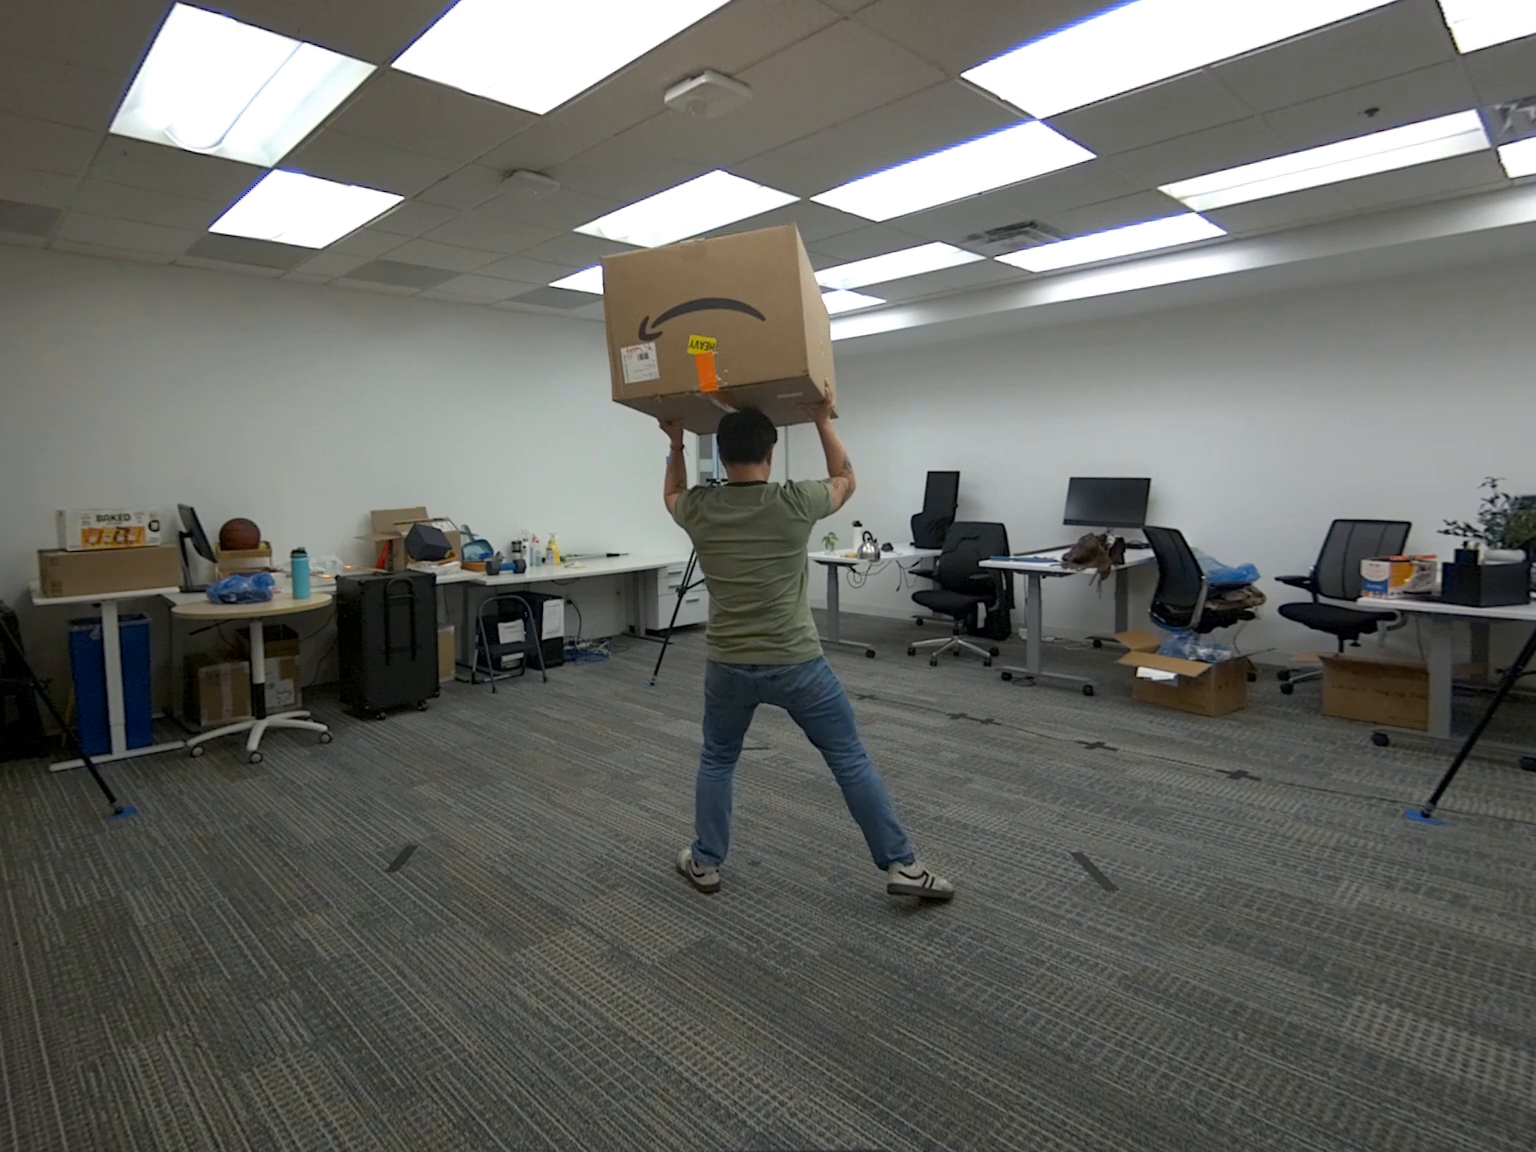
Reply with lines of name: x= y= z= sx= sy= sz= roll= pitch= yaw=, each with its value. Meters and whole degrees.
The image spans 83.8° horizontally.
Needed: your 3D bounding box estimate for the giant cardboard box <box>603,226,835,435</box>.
giant cardboard box: x=-0.102 y=-0.765 z=2.890 sx=0.583 sy=0.426 sz=1.016 roll=-6 pitch=2 yaw=10
